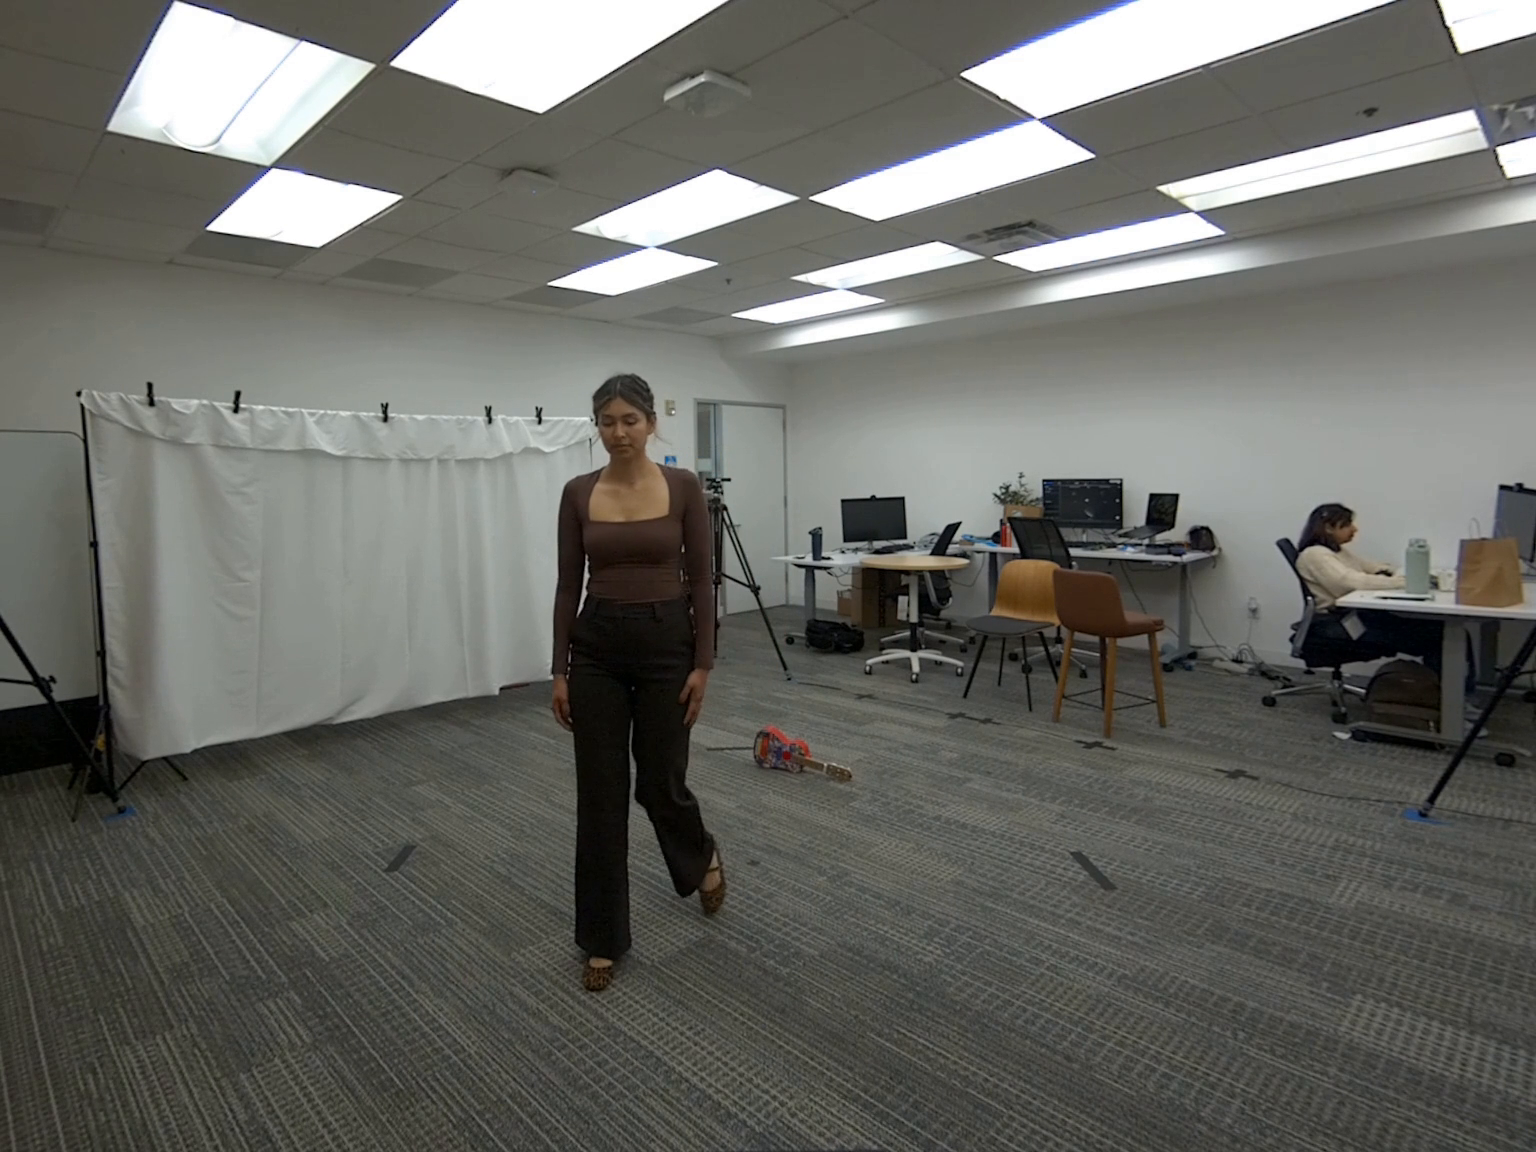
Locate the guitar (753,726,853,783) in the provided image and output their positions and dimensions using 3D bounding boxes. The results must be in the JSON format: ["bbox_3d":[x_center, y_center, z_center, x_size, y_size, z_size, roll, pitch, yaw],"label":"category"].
[{"bbox_3d":[0.160,0.894,4.055,0.512,0.191,0.069,22,14,24],"label":"guitar"}]
